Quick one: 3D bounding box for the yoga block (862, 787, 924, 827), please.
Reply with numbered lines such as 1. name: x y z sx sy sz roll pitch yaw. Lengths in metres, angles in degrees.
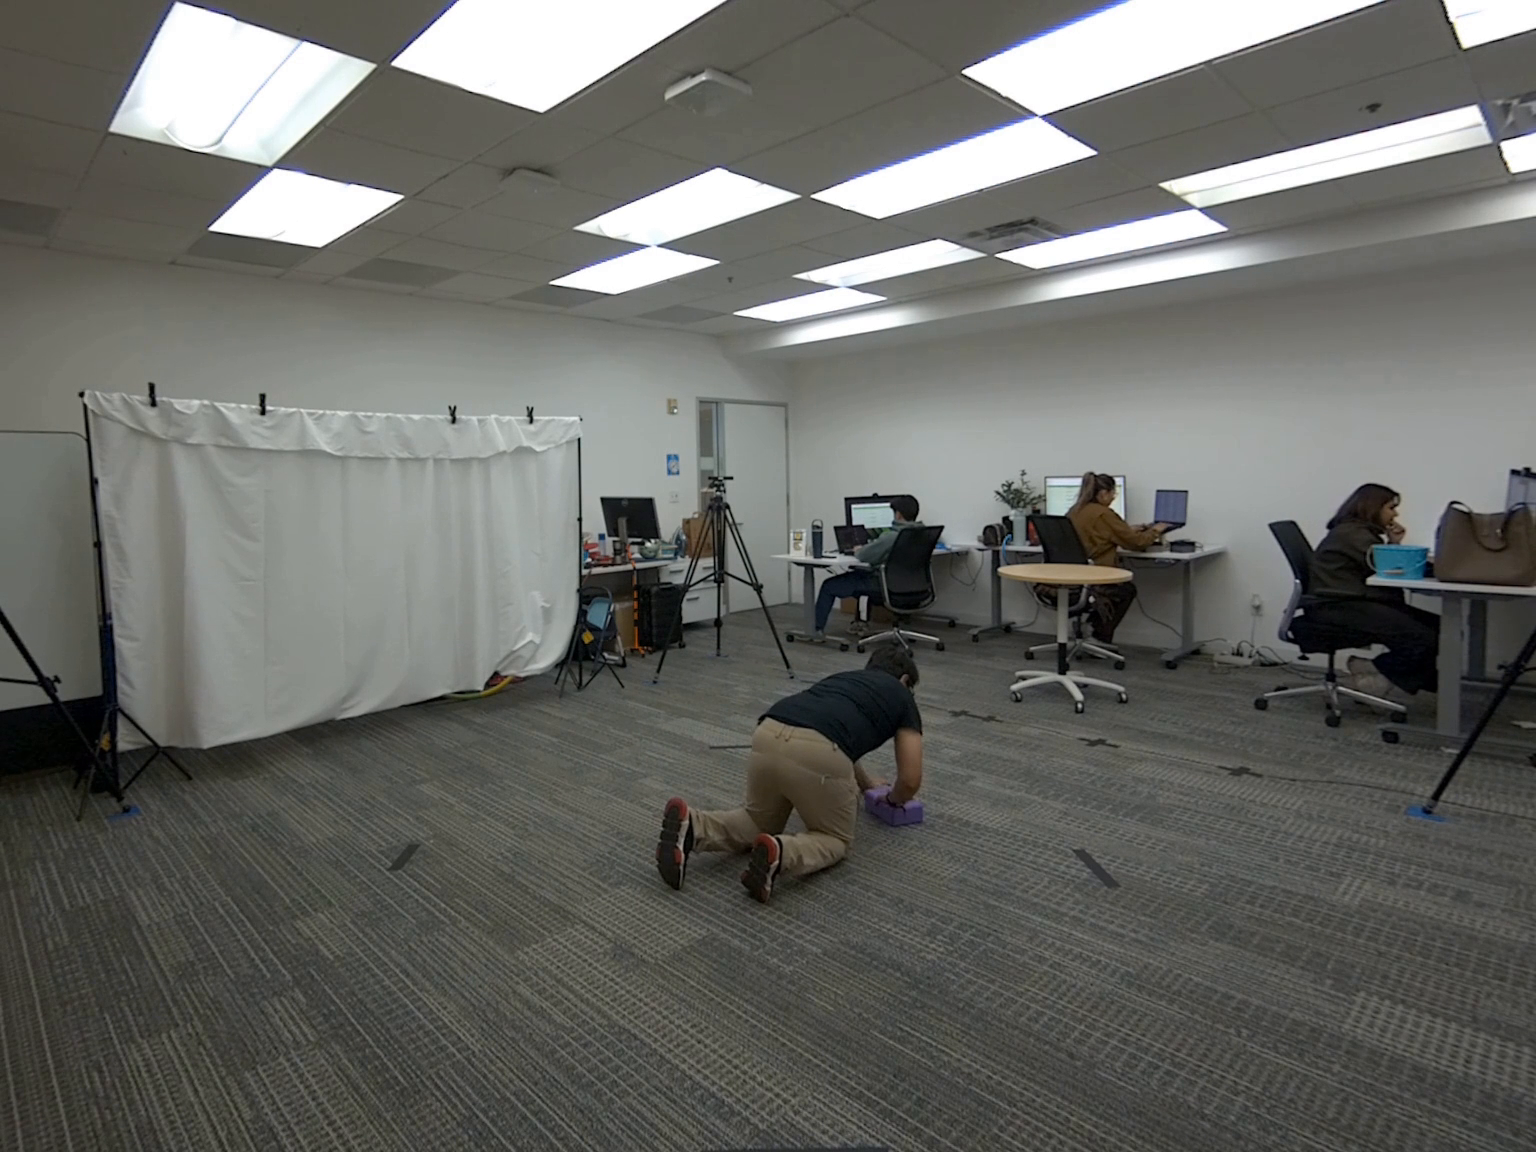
1. yoga block: 0.513 0.942 3.506 0.146 0.076 0.234 -2 6 -21
